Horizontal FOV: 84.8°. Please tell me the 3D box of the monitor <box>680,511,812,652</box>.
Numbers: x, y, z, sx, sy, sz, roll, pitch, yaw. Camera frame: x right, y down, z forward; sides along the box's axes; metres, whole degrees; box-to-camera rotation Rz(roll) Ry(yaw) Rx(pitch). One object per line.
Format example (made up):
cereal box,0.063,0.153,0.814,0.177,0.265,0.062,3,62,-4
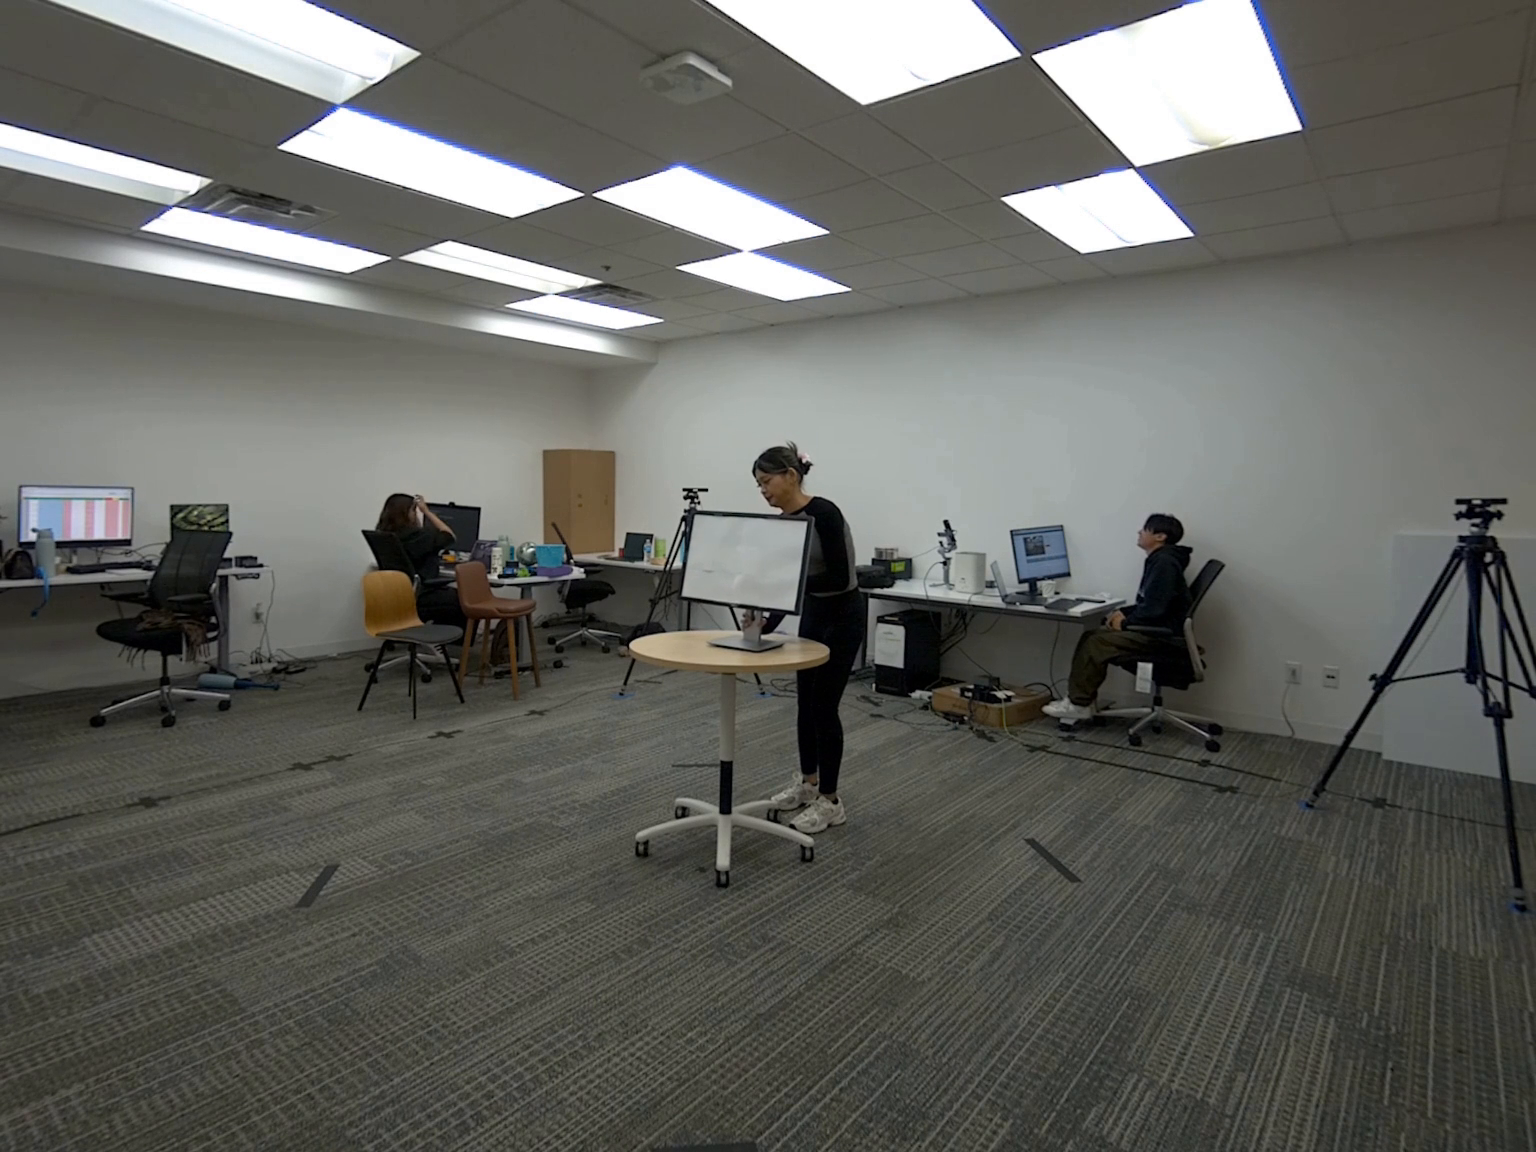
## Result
monitor,-0.084,0.018,3.268,0.556,0.520,0.182,4,5,33
